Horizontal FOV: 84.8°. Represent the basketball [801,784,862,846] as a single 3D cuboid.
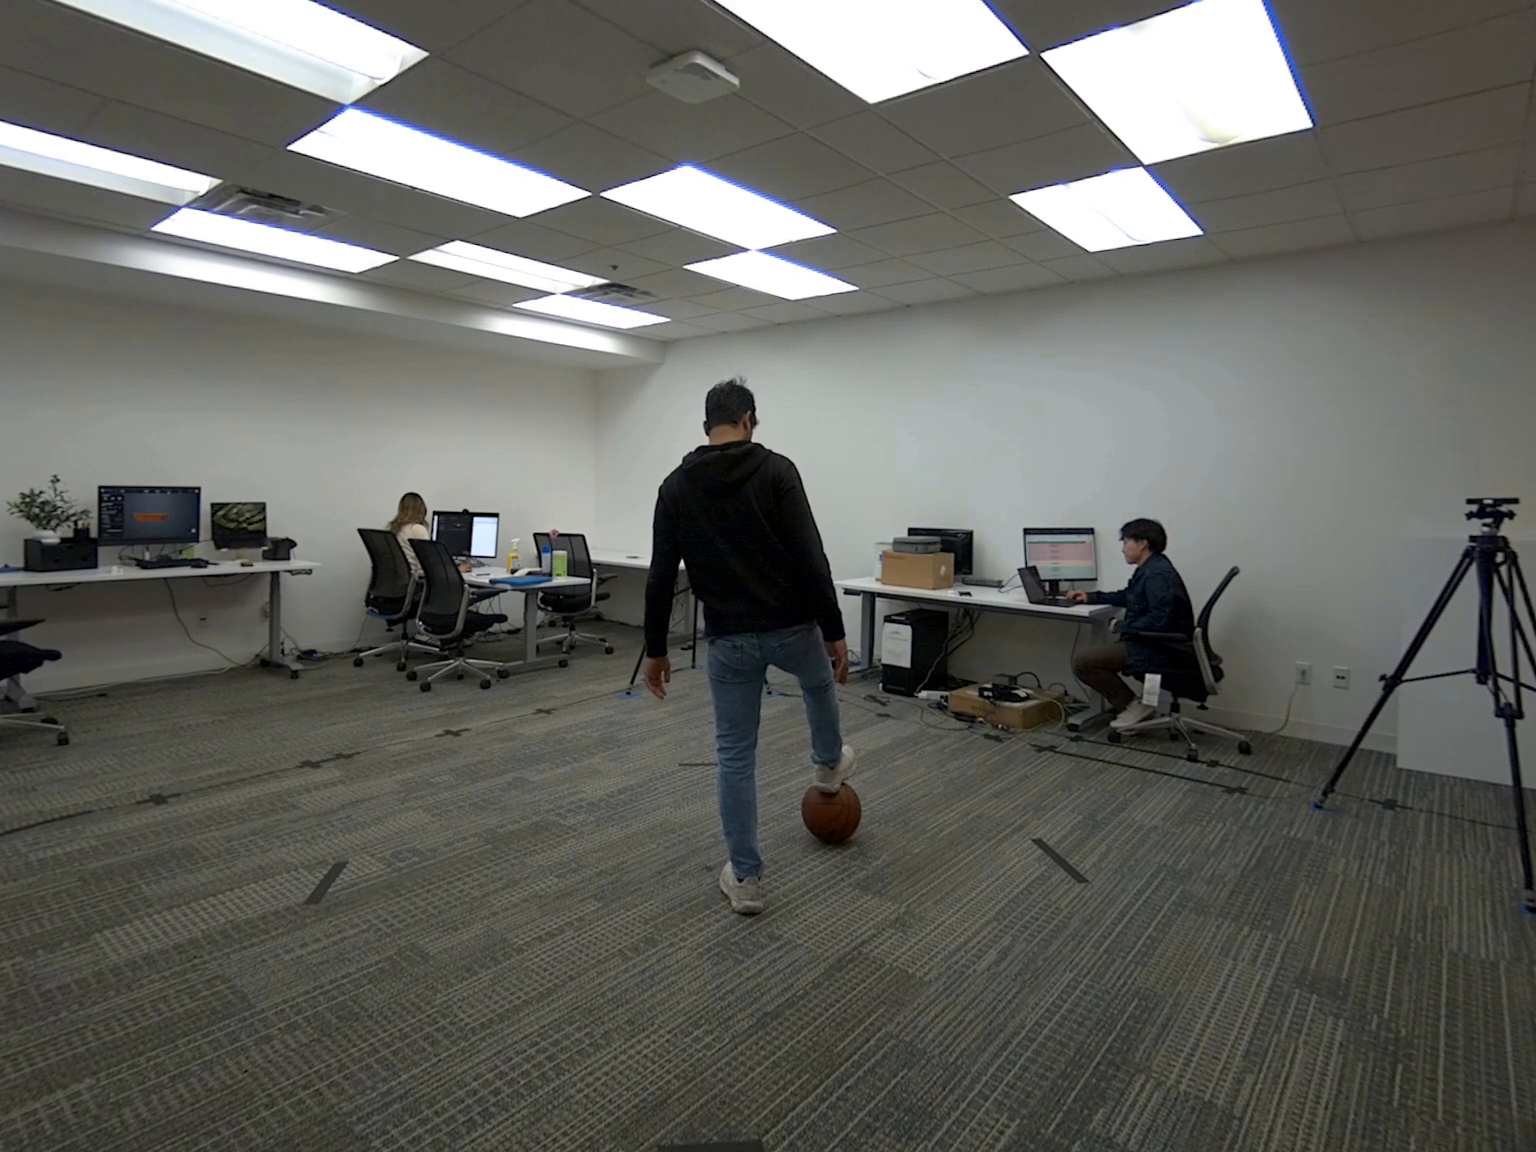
[{"bbox_3d":[0.238,0.932,3.374,0.235,0.235,0.237,1,4,-2],"label":"basketball"}]
